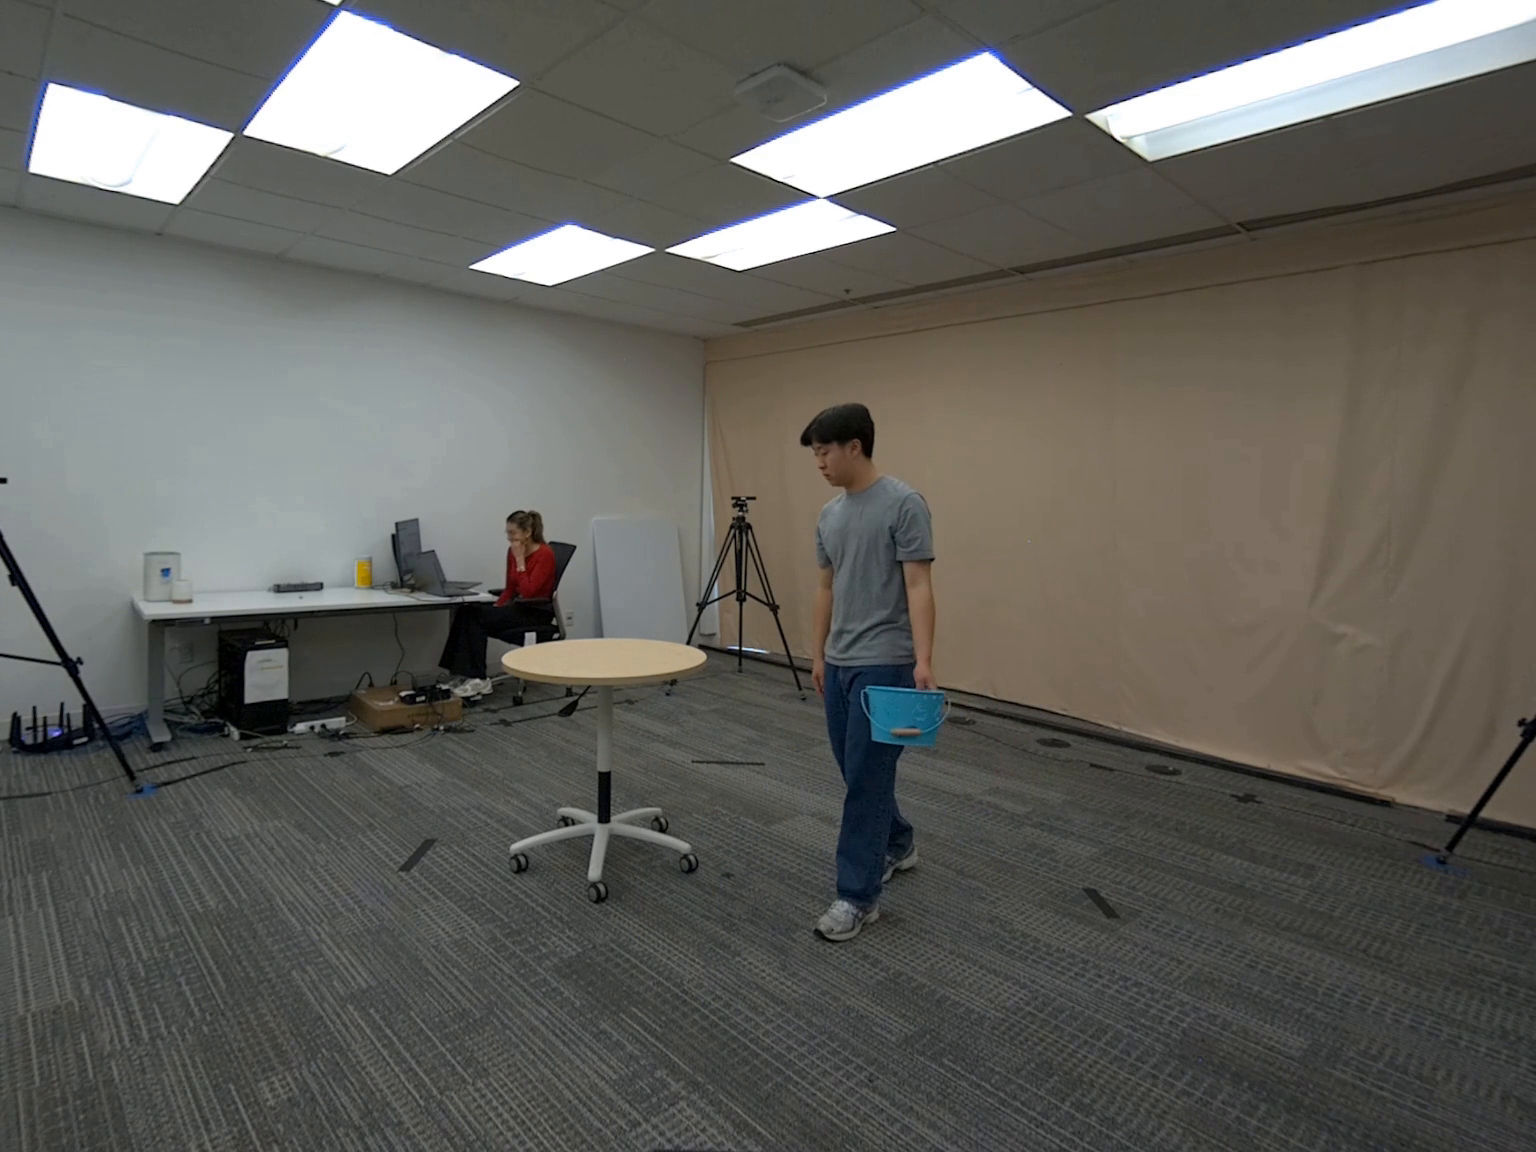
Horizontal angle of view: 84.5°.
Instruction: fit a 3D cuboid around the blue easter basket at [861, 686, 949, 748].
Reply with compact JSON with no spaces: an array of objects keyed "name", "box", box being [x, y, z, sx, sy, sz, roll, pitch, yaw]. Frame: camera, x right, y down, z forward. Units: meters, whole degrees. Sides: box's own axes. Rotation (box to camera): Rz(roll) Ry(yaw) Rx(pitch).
[{"name":"blue easter basket","box":[0.385,0.408,2.445,0.243,0.156,0.242,5,-6,-1]}]
